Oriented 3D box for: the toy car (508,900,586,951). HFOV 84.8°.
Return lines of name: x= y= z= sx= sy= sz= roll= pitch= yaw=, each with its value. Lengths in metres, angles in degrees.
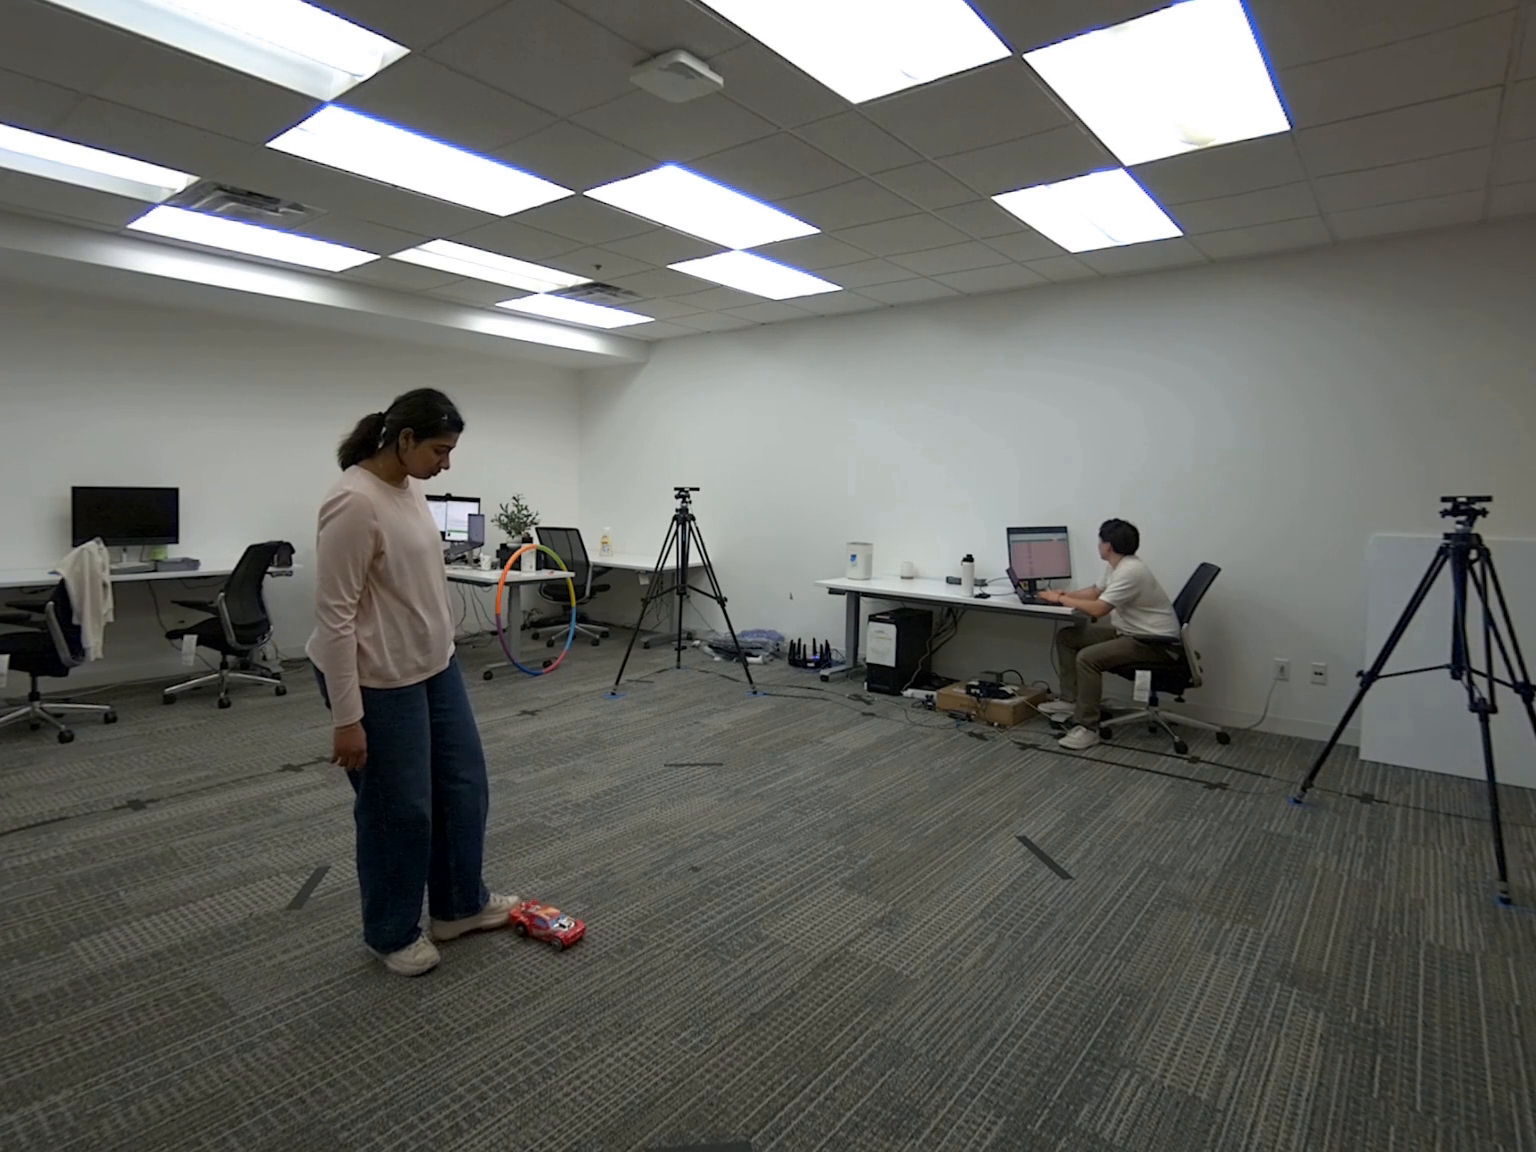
toy car: x=-0.697 y=1.081 z=2.624 sx=0.263 sy=0.082 sz=0.127 roll=16 pitch=12 yaw=29
